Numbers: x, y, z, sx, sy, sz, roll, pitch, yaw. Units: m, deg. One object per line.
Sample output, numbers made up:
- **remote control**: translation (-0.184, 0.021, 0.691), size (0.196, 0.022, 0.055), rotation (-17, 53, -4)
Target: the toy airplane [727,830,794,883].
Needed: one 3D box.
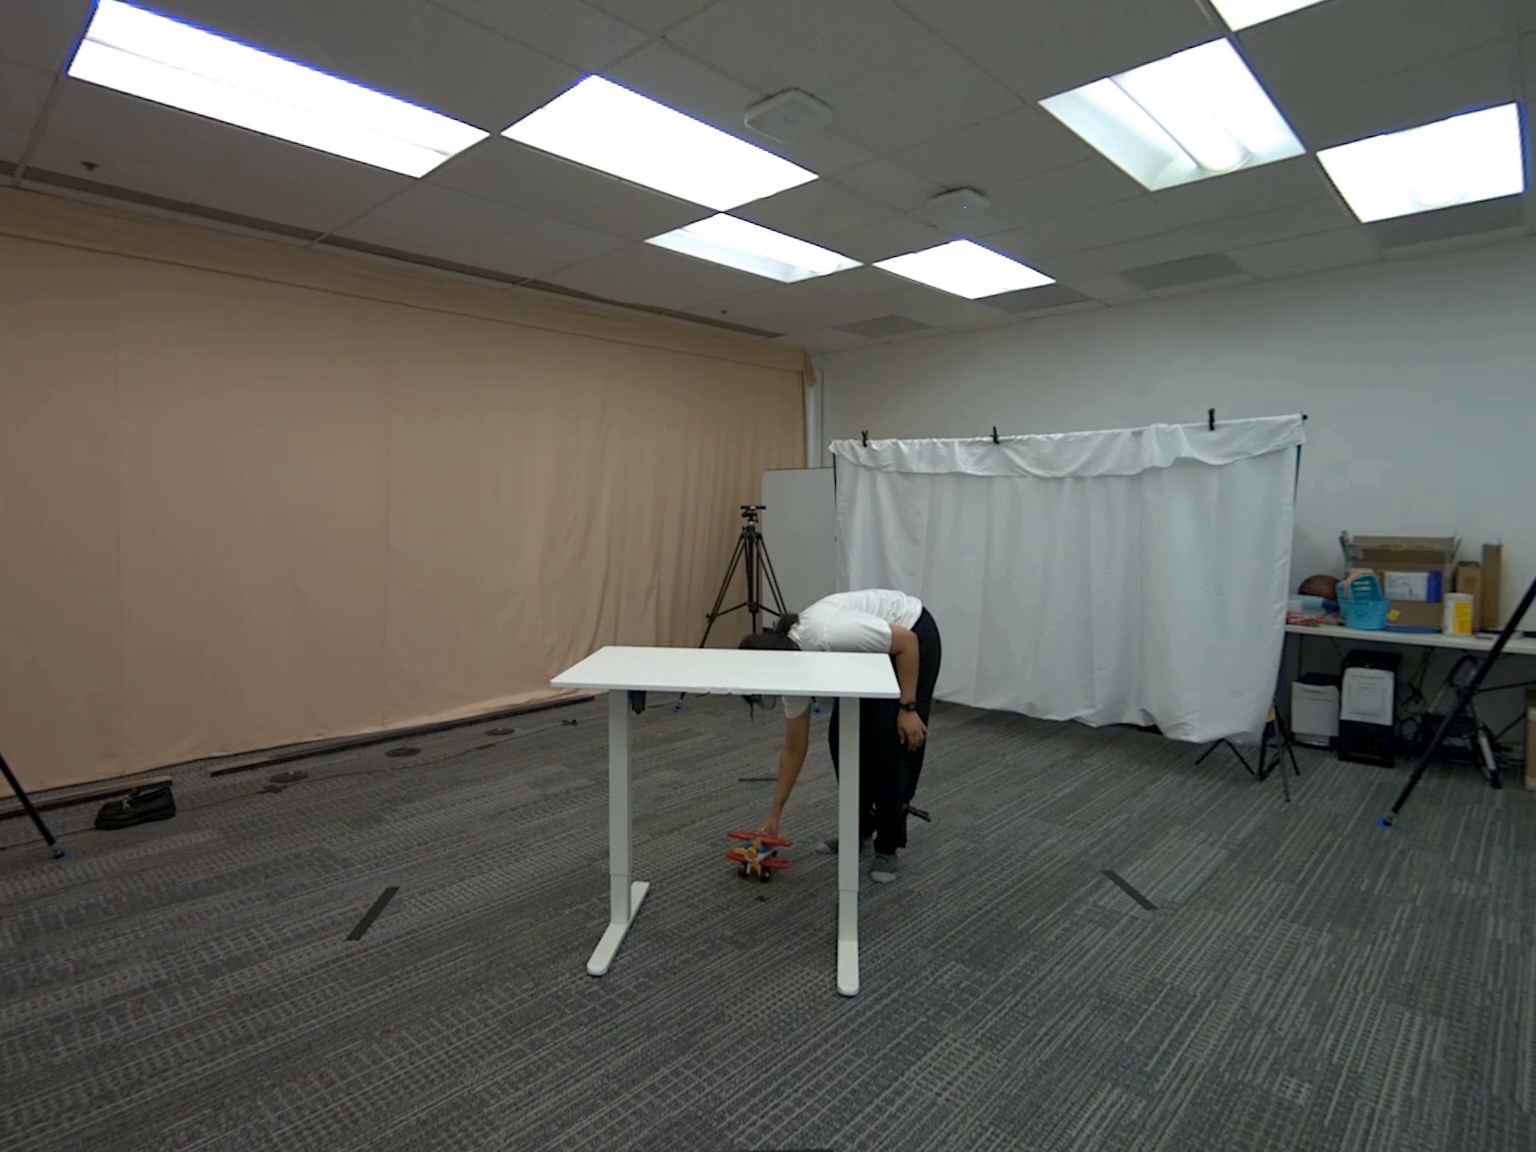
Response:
- **toy airplane**: translation (-0.033, 1.044, 3.209), size (0.250, 0.155, 0.262), rotation (-2, 9, -6)
